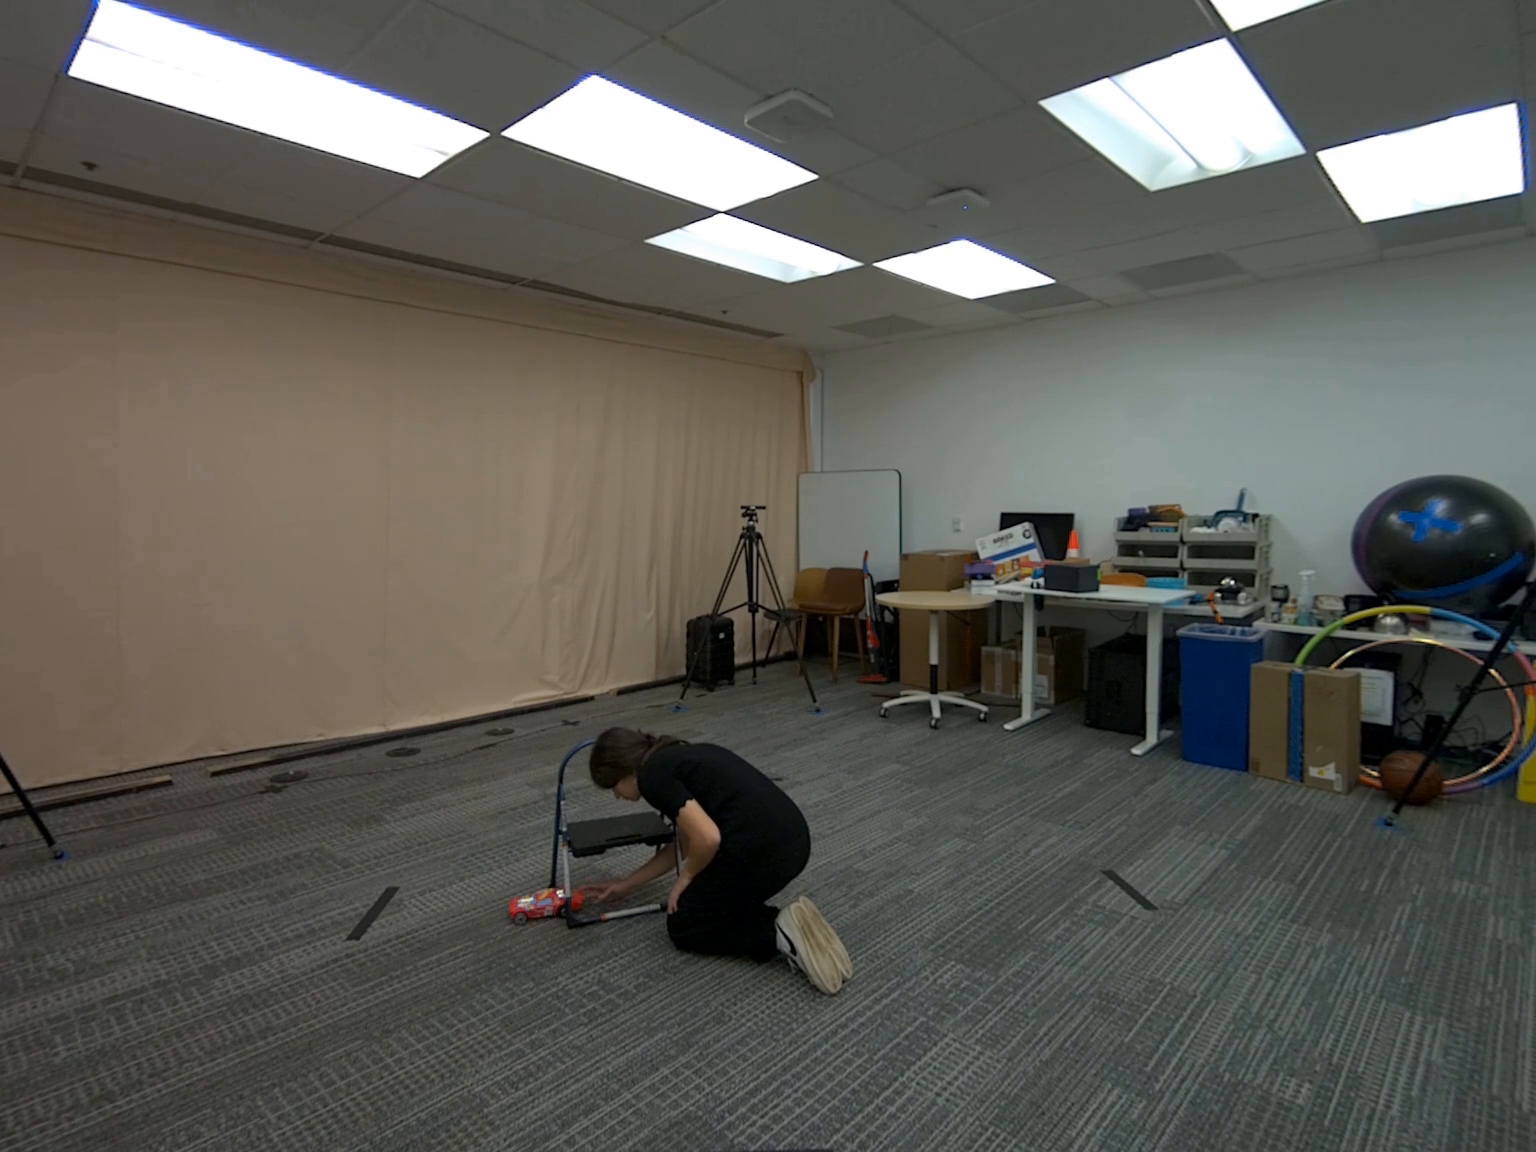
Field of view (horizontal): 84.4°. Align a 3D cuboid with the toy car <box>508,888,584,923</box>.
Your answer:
[{"bbox_3d":[-0.757,1.127,2.883,0.251,0.083,0.133,-13,7,-15],"label":"toy car"}]
